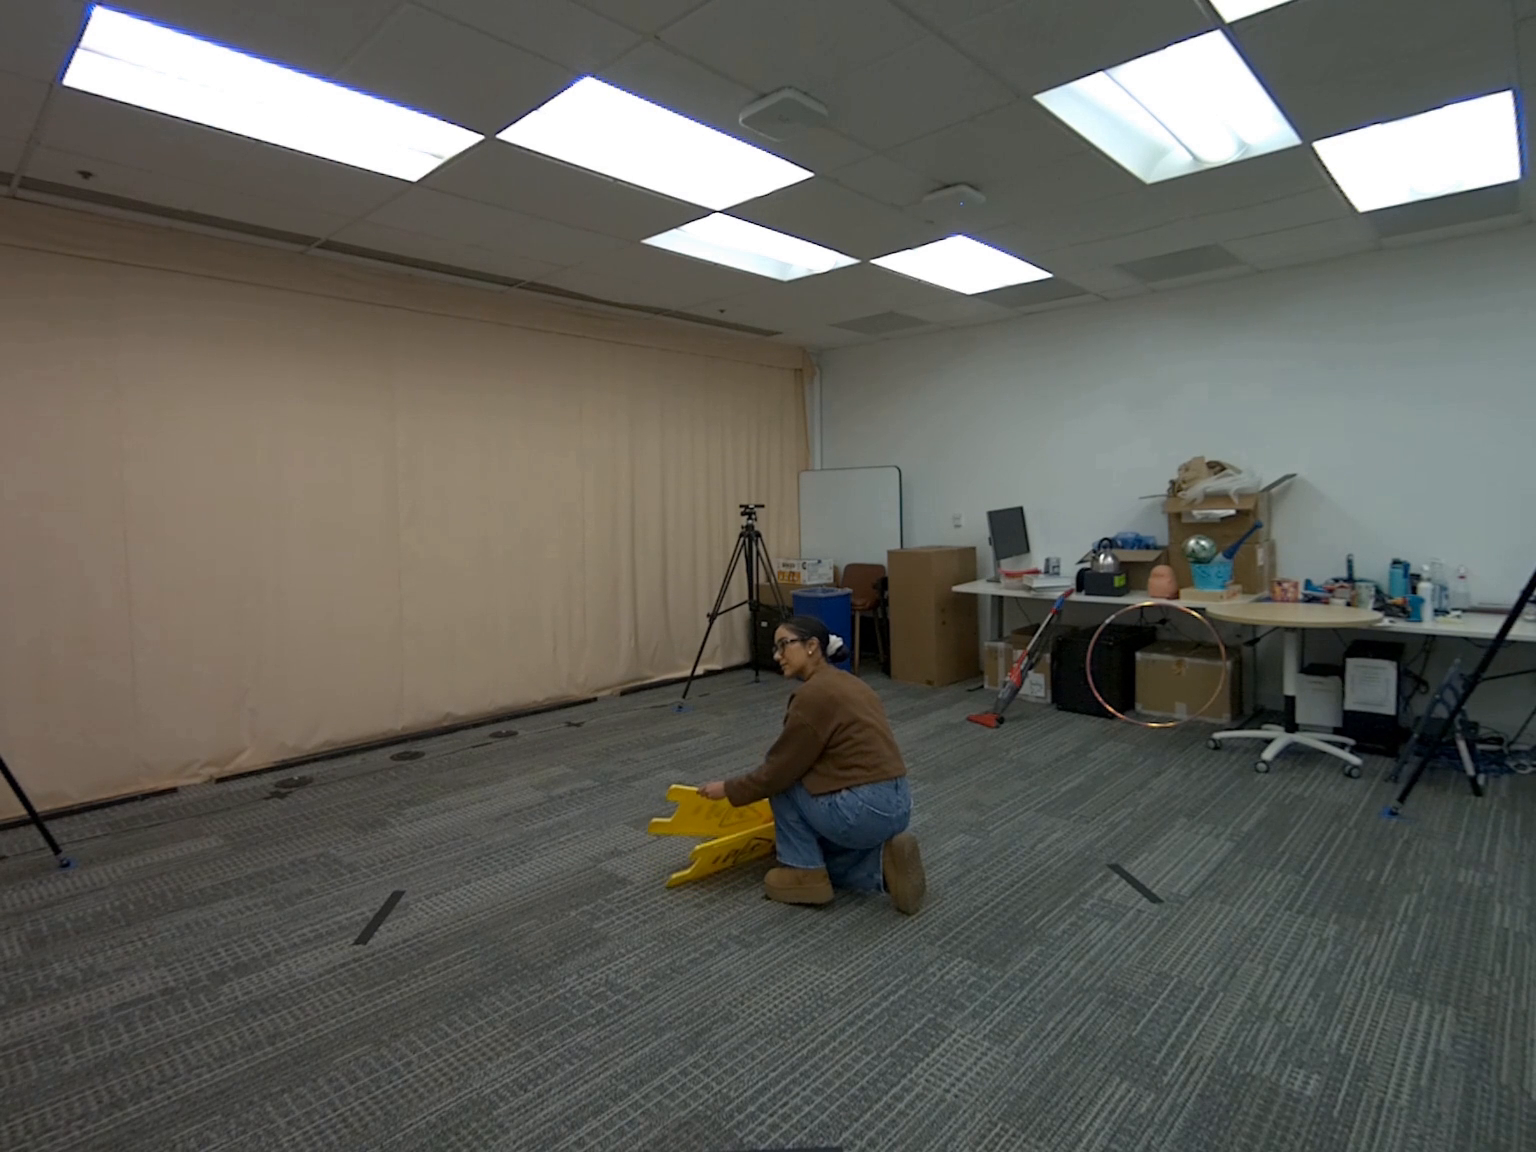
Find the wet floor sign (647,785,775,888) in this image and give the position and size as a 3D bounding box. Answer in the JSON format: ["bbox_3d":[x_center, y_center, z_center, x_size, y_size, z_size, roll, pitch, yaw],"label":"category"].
[{"bbox_3d":[-0.097,0.988,3.250,0.627,0.281,0.299,6,36,-30],"label":"wet floor sign"}]
